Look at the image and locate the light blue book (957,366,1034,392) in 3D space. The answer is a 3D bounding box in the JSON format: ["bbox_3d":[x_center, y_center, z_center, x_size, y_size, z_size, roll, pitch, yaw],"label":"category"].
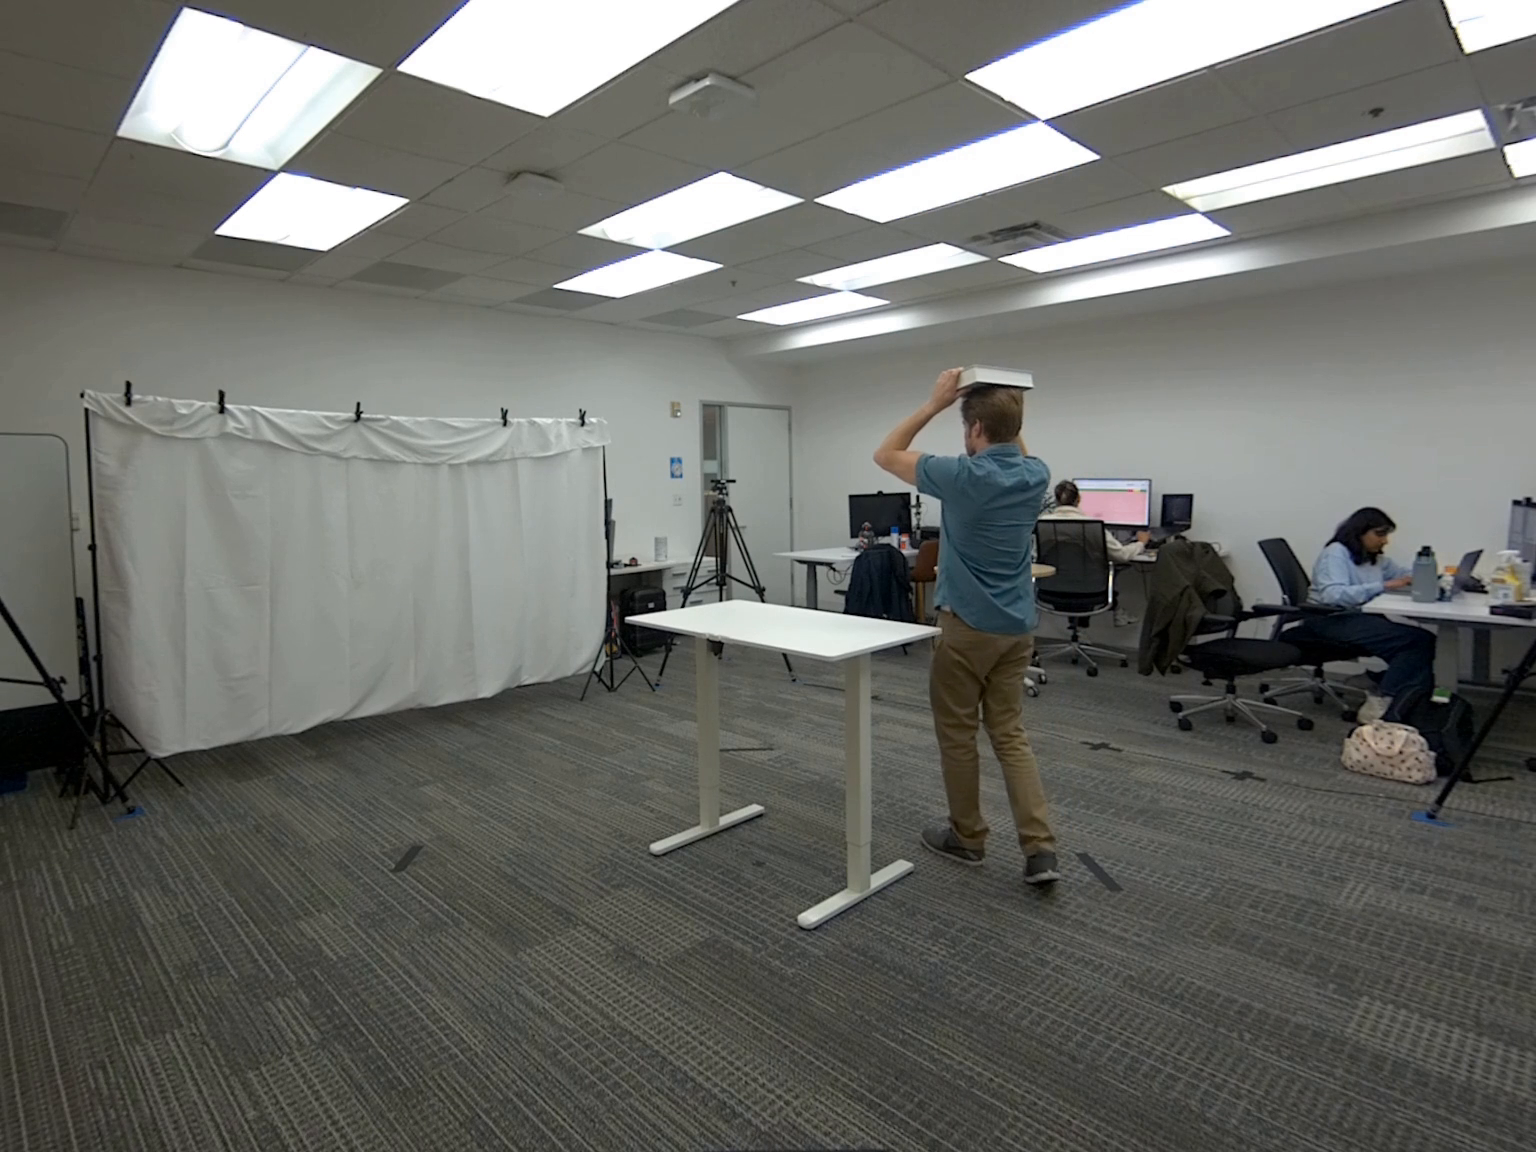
[{"bbox_3d":[0.760,-0.661,2.950,0.255,0.059,0.194,-1,-5,-26],"label":"light blue book"}]
